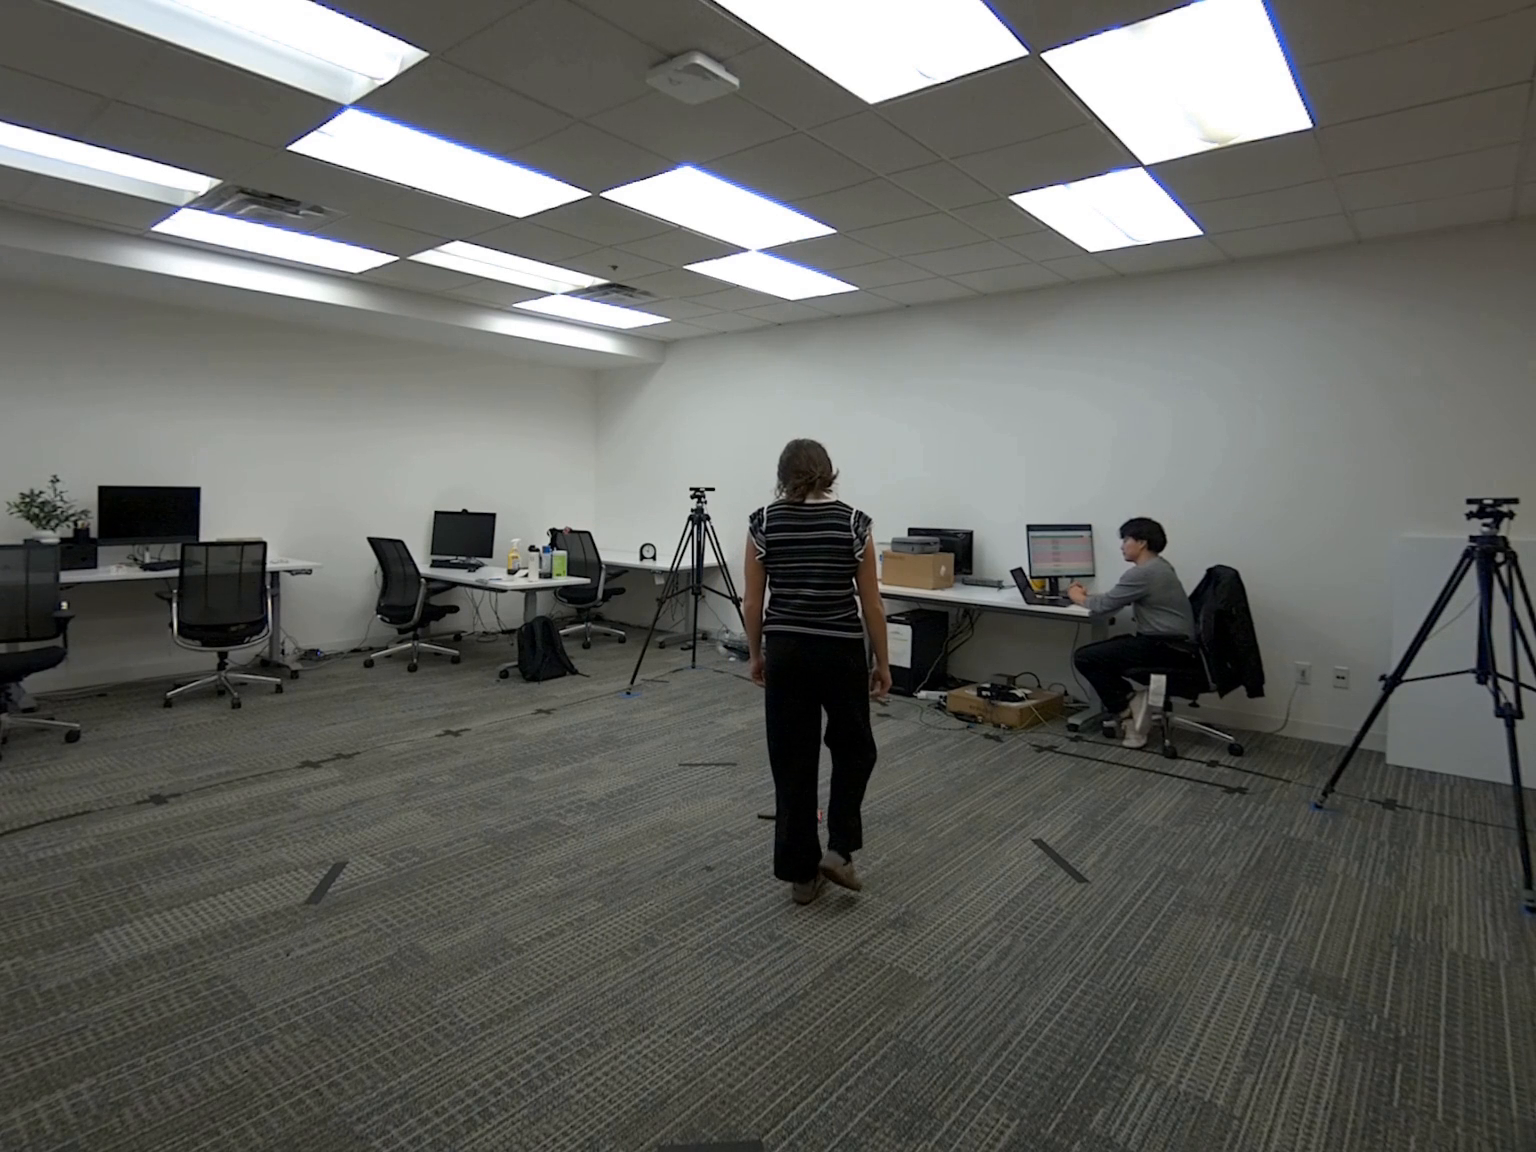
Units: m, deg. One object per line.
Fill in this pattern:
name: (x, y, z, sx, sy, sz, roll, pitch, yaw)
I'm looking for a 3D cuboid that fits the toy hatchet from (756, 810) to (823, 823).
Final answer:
toy hatchet: (0.086, 1.005, 3.632, 0.272, 0.029, 0.130, 1, 7, 7)
